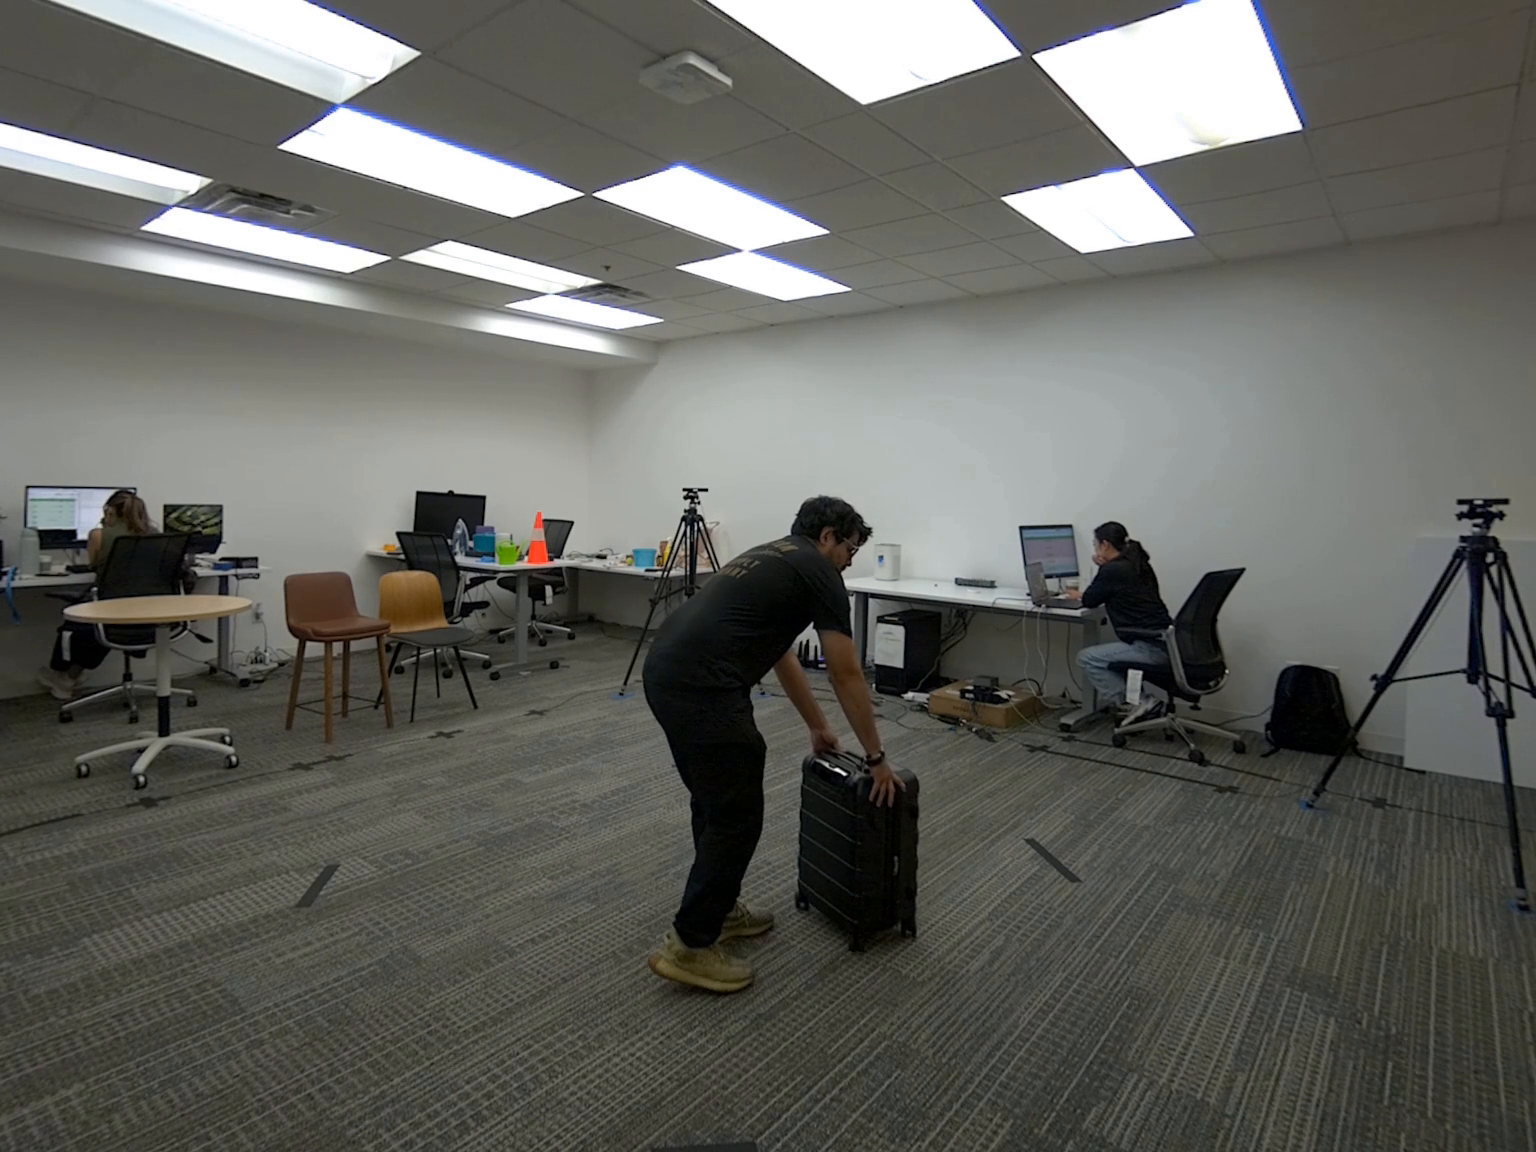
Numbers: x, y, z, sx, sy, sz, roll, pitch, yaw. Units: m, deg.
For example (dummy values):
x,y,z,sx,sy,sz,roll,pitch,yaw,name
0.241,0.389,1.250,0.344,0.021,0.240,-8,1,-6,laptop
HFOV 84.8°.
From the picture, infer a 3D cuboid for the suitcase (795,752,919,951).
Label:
x,y,z,sx,sy,sz,roll,pitch,yaw,name
0.278,0.844,2.728,0.242,0.547,0.387,-2,6,-30,suitcase
